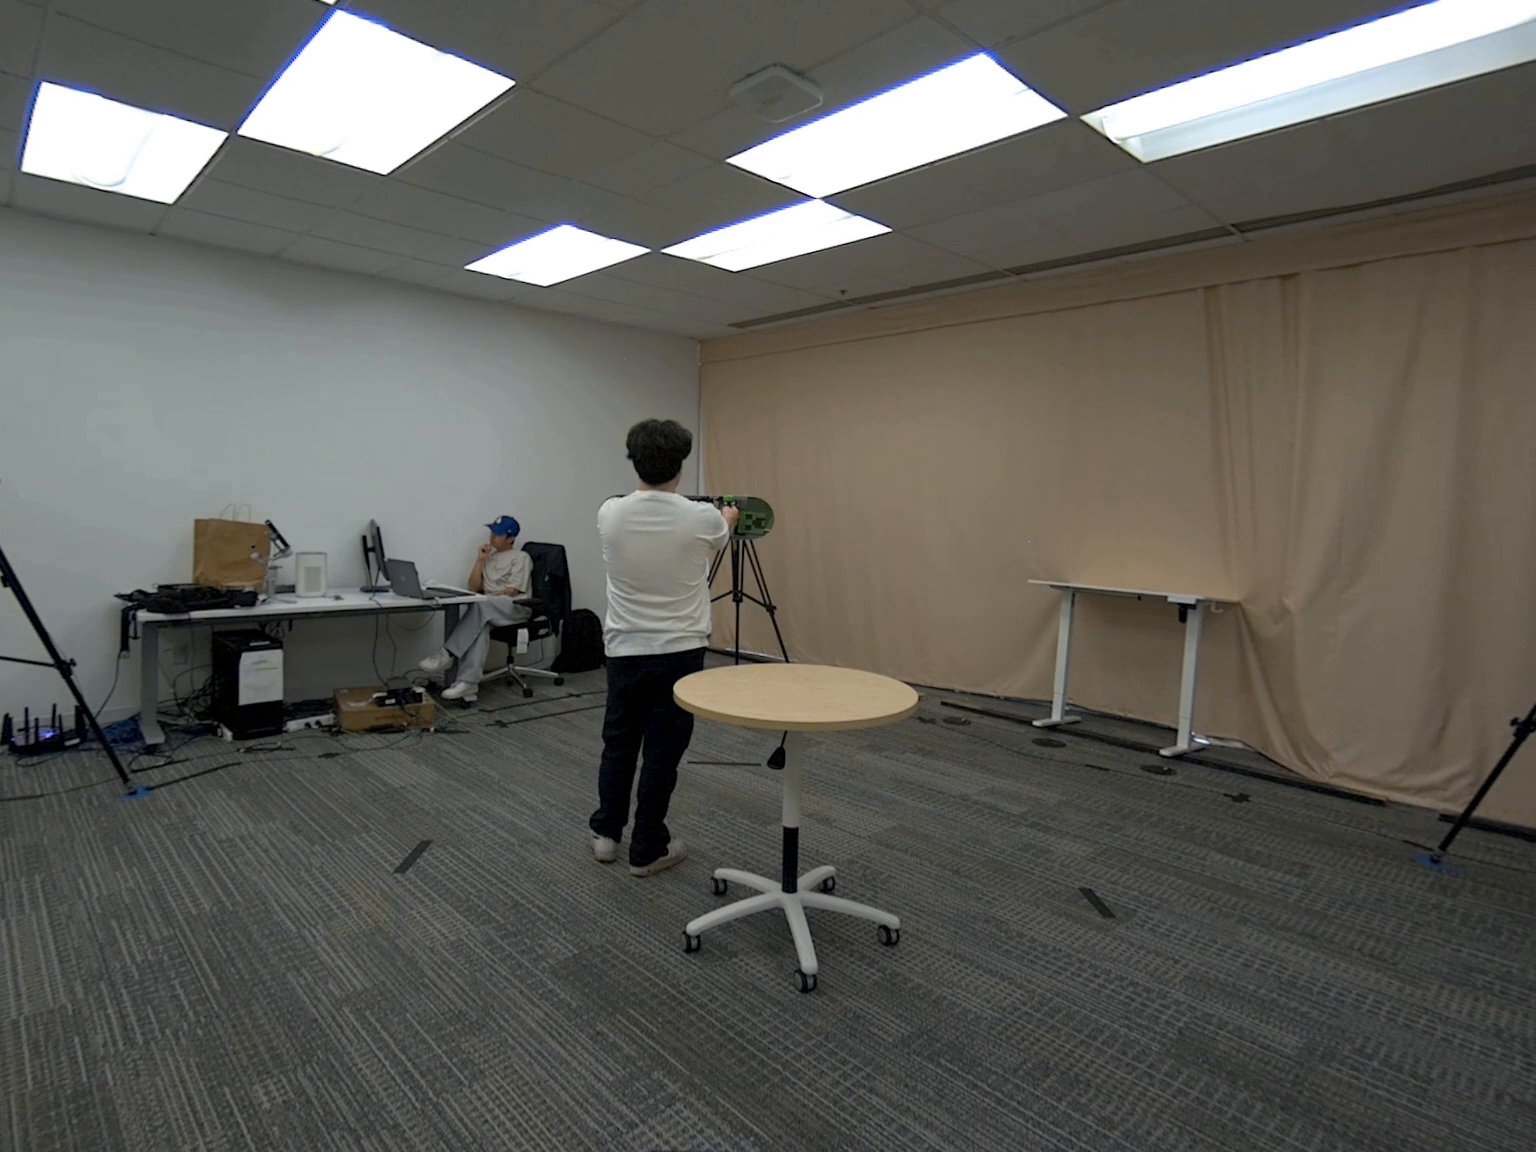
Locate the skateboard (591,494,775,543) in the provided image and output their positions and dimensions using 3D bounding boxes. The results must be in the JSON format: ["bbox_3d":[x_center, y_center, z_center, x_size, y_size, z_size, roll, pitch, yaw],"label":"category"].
[{"bbox_3d":[-0.372,-0.252,3.679,0.791,0.193,0.109,2,-1,8],"label":"skateboard"}]
